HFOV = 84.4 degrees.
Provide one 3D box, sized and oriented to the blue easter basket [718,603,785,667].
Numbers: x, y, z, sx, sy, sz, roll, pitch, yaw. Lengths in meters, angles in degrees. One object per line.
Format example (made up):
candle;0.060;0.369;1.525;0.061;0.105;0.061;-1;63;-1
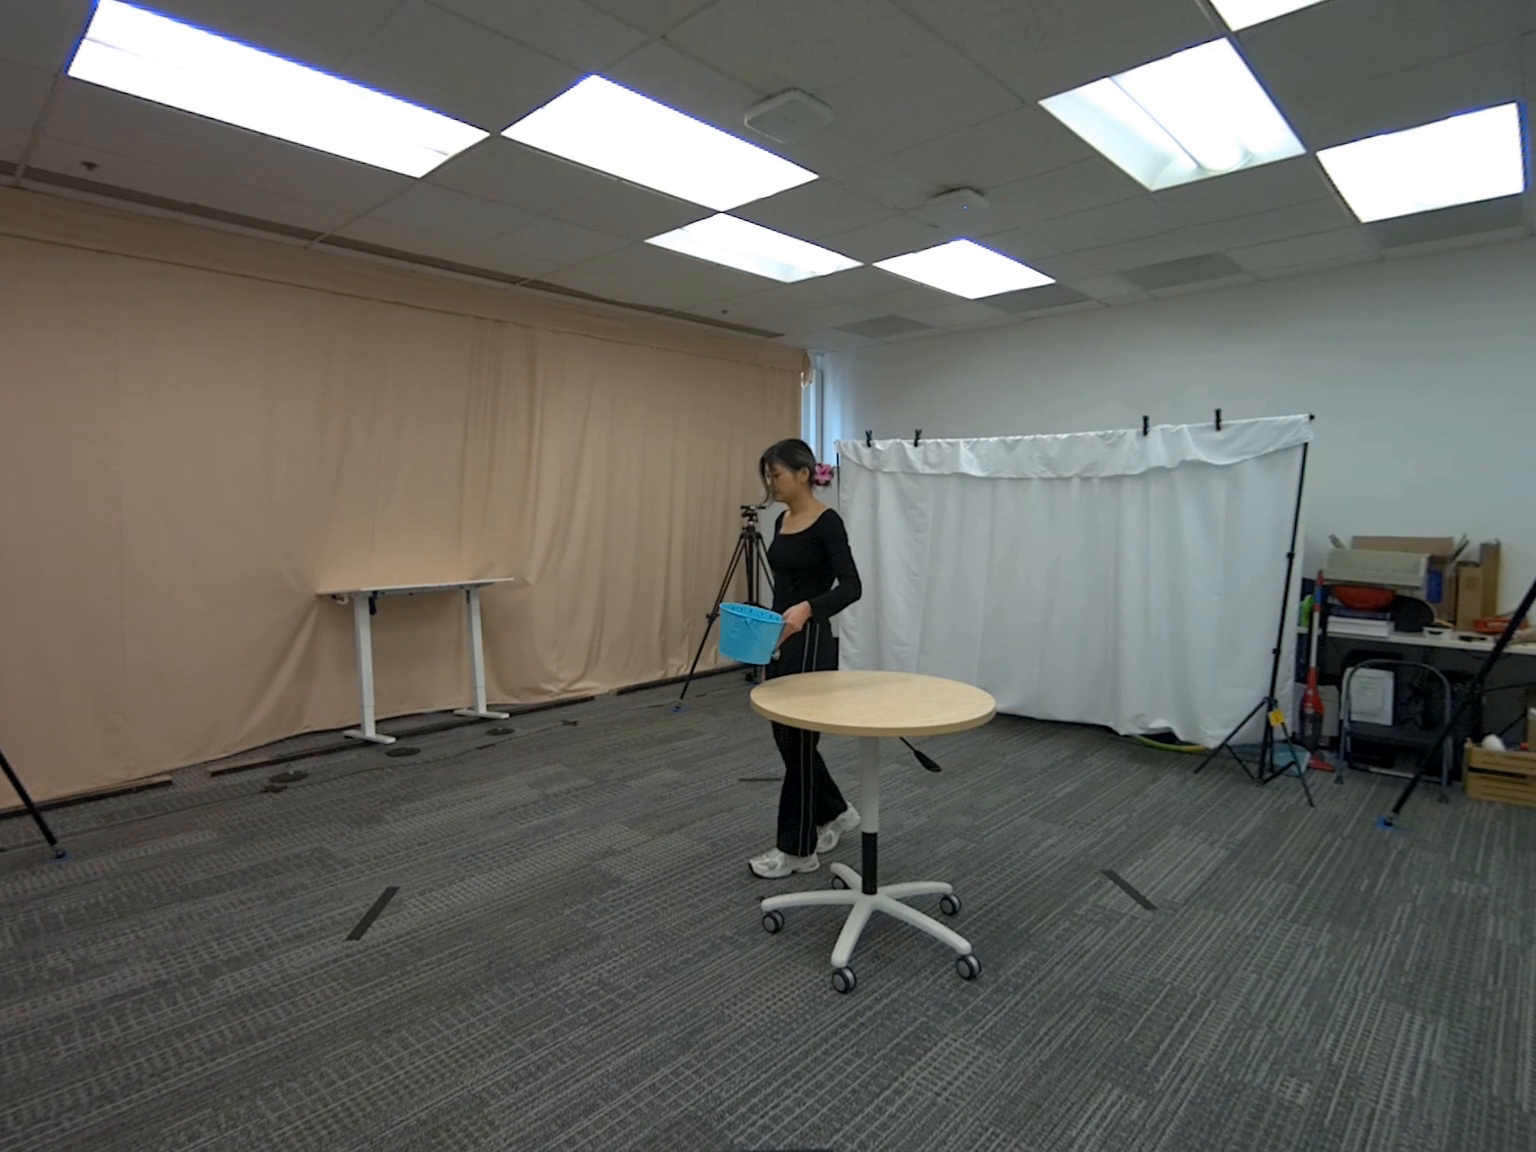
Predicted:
blue easter basket;-0.054;0.197;2.817;0.243;0.155;0.245;11;5;-3
